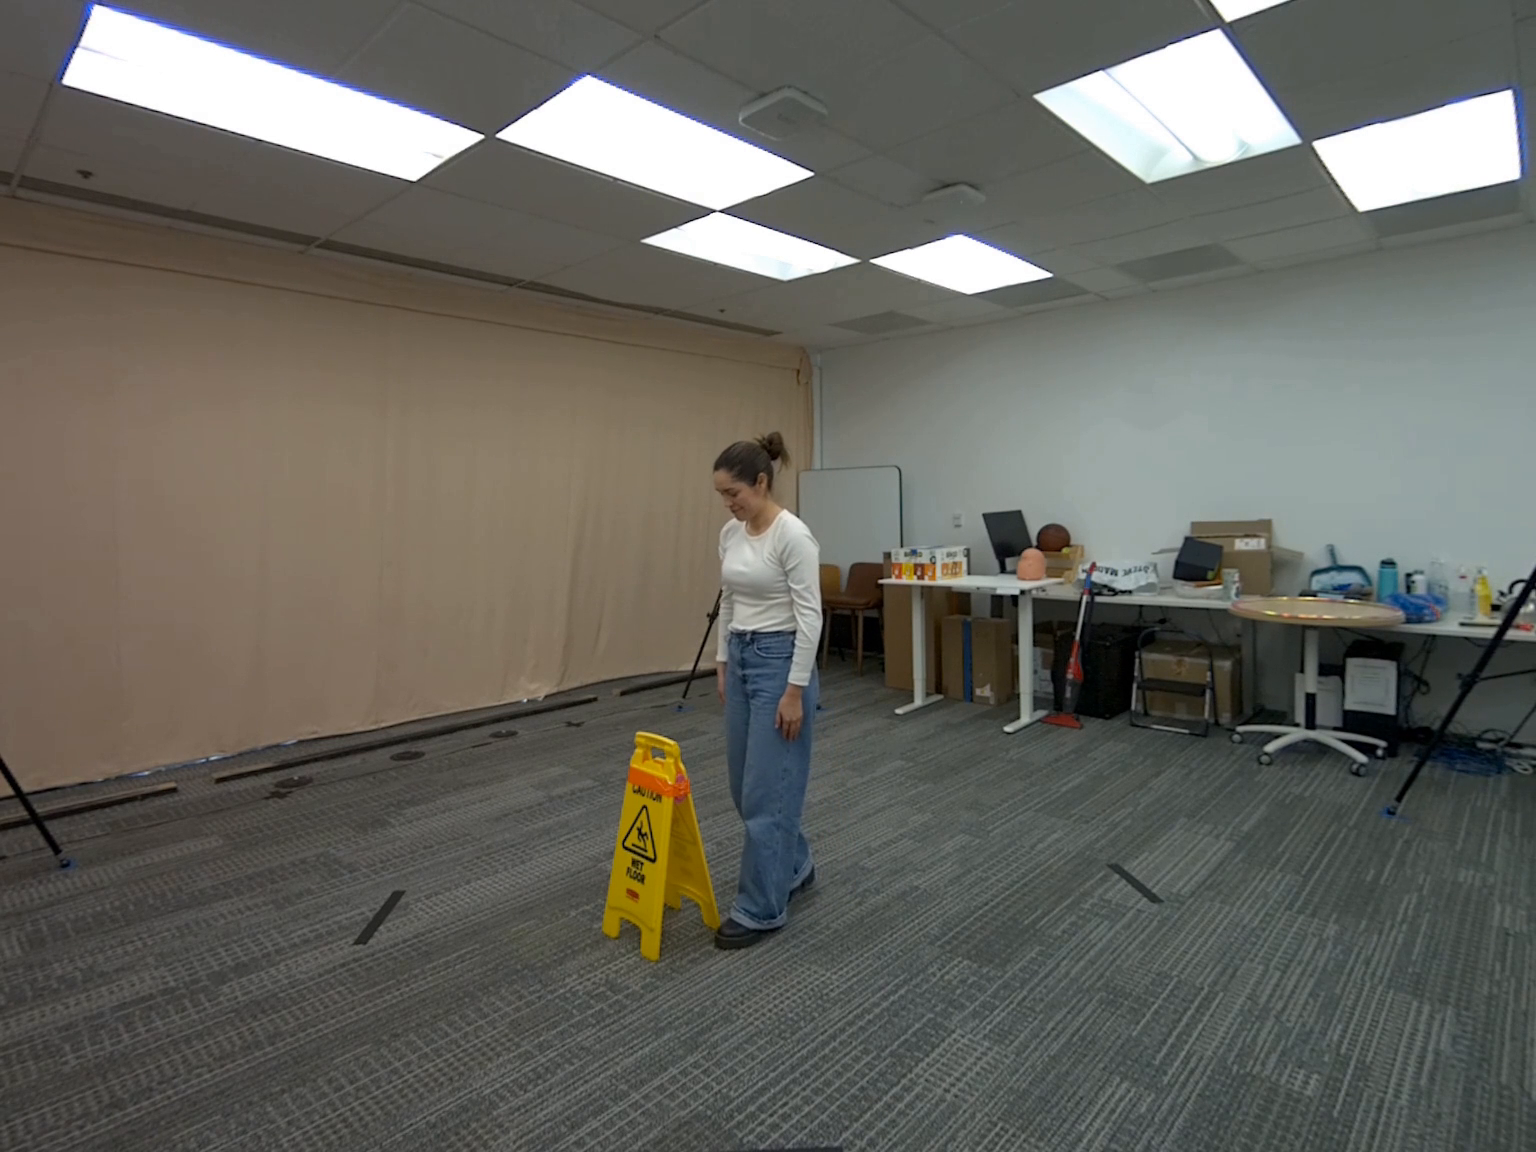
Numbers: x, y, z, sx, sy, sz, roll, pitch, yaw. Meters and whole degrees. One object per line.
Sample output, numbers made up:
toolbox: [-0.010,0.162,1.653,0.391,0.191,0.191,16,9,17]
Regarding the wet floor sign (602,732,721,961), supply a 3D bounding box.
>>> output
wet floor sign: [-0.352,0.846,2.756,0.291,0.645,0.281,2,3,45]
